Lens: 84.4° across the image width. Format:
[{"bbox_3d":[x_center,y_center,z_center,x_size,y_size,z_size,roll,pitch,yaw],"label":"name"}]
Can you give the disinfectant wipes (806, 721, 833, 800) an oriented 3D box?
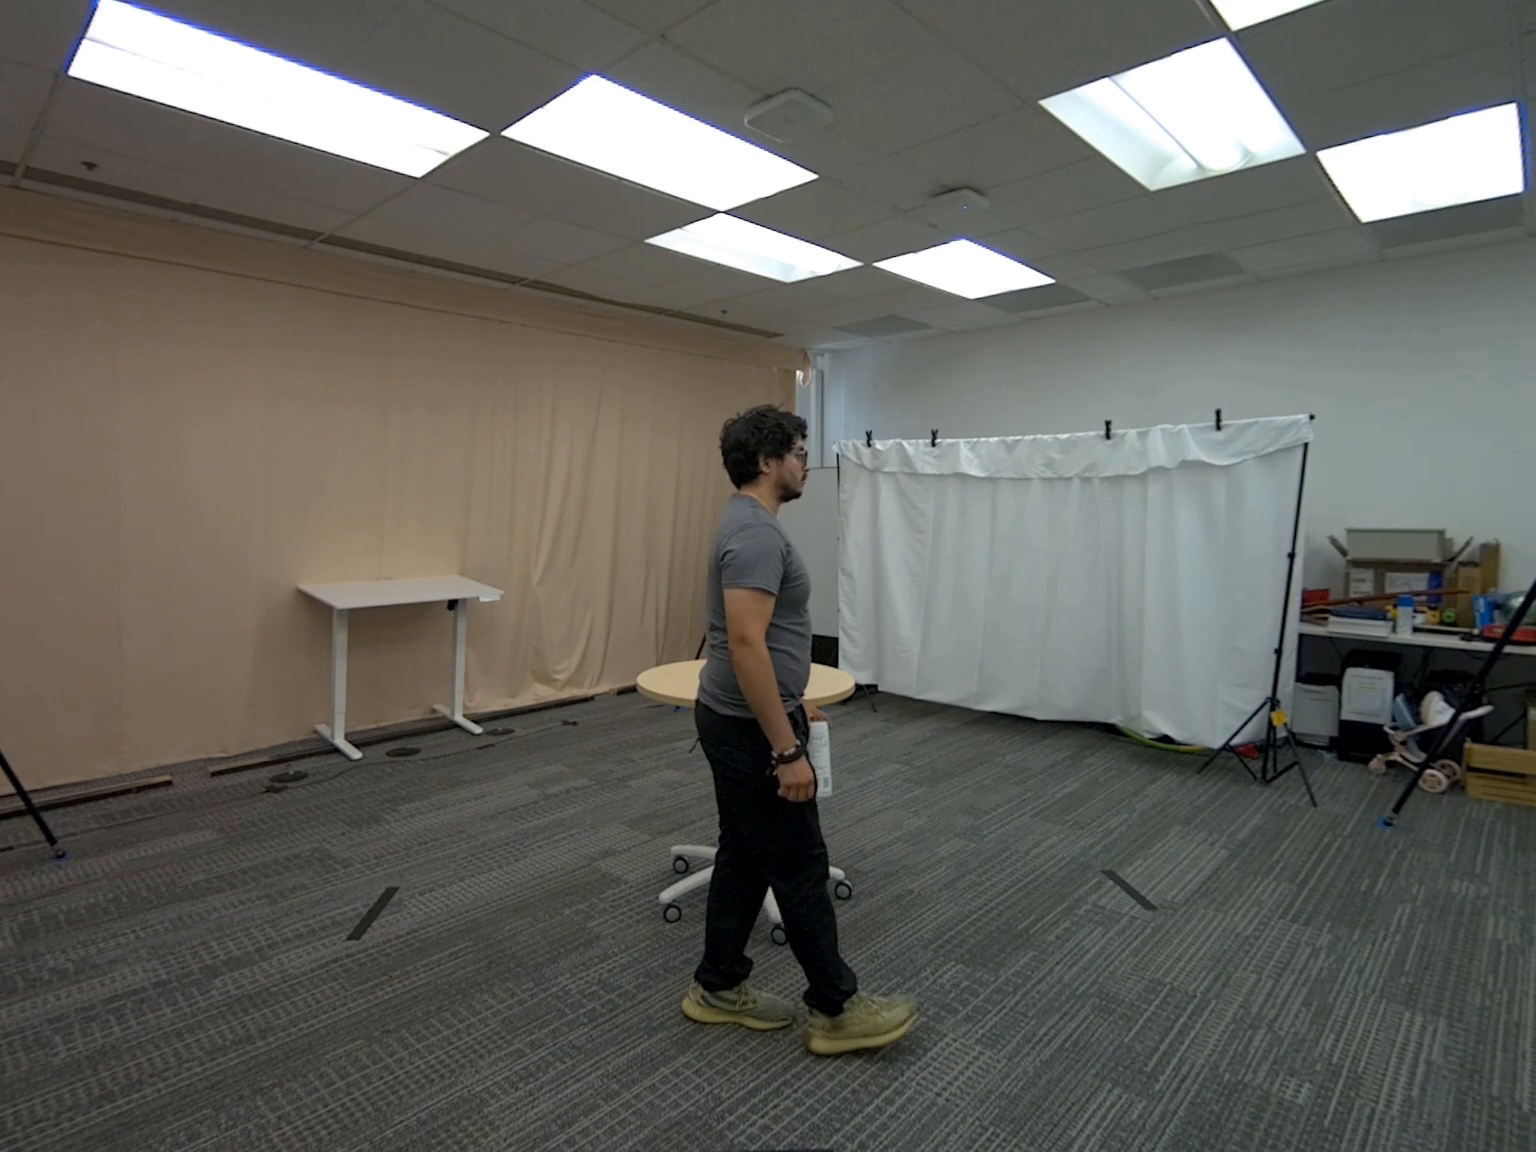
[{"bbox_3d":[0.134,0.535,2.484,0.117,0.219,0.117,-5,-7,-2],"label":"disinfectant wipes"}]
